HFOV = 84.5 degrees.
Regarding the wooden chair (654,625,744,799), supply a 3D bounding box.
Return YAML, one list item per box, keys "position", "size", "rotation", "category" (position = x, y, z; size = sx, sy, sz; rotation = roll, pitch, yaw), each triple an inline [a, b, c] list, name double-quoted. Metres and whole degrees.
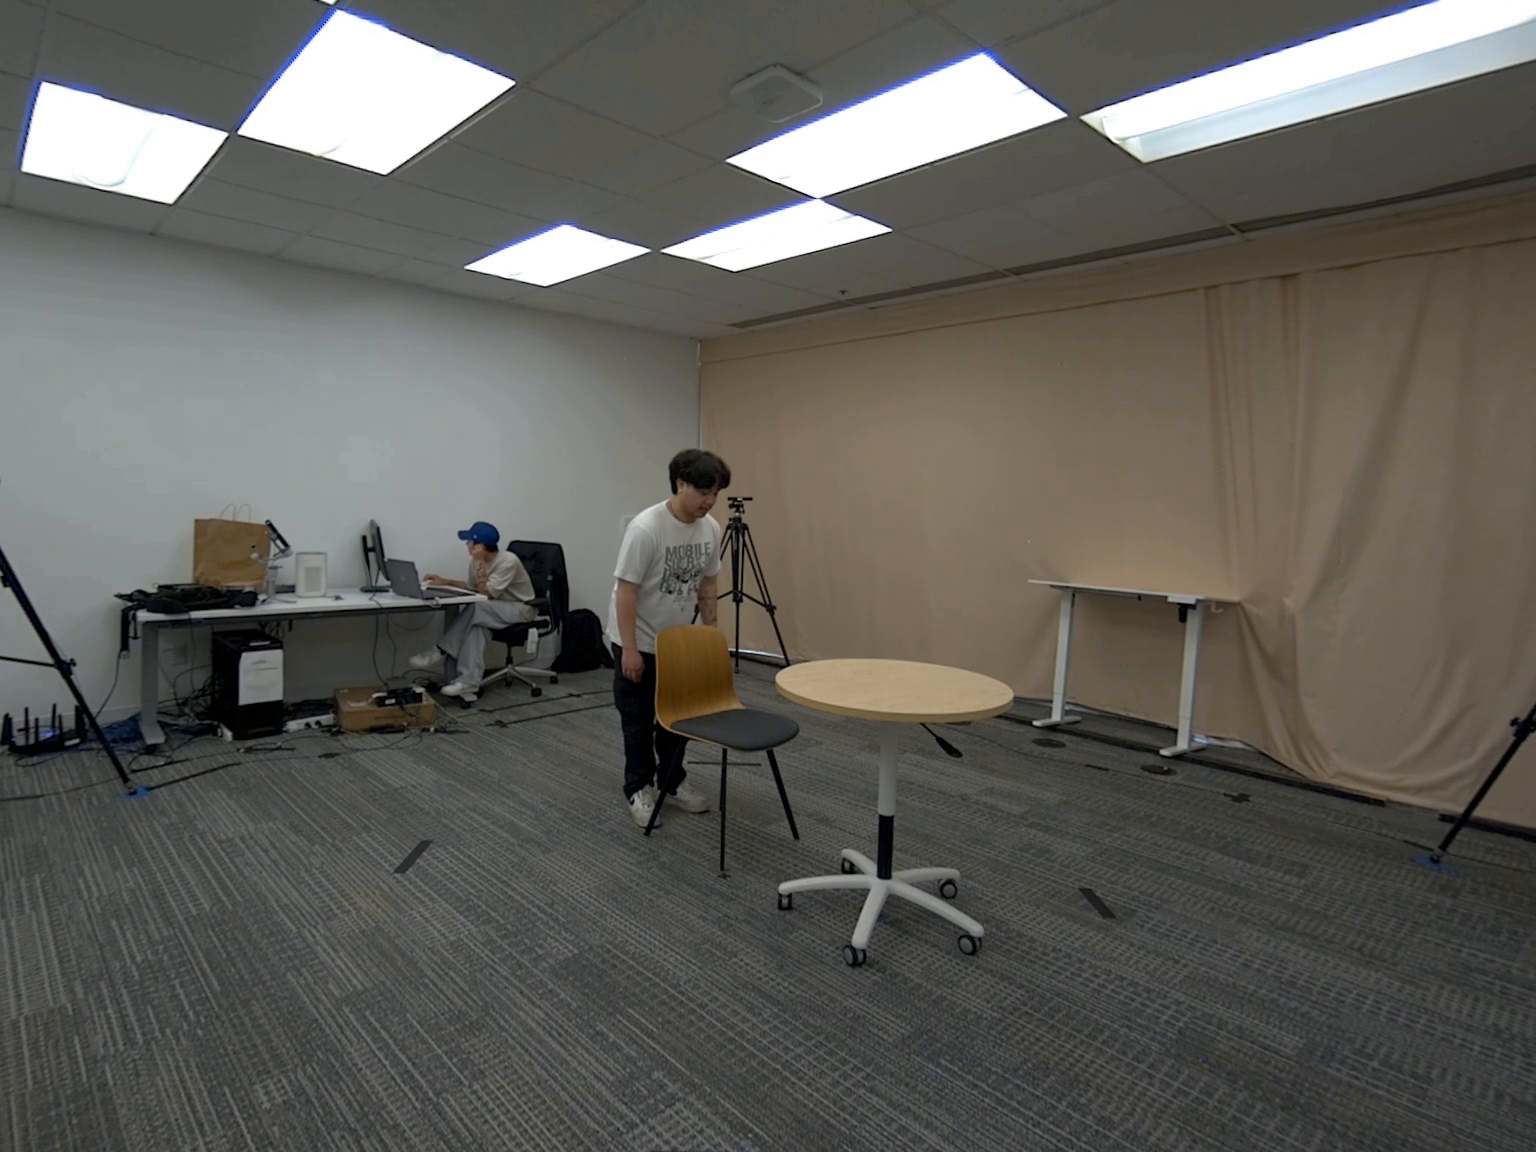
- position: [-0.176, 0.651, 3.421]
  size: [0.535, 0.877, 0.467]
  rotation: [-1, 0, 44]
  category: "wooden chair"
